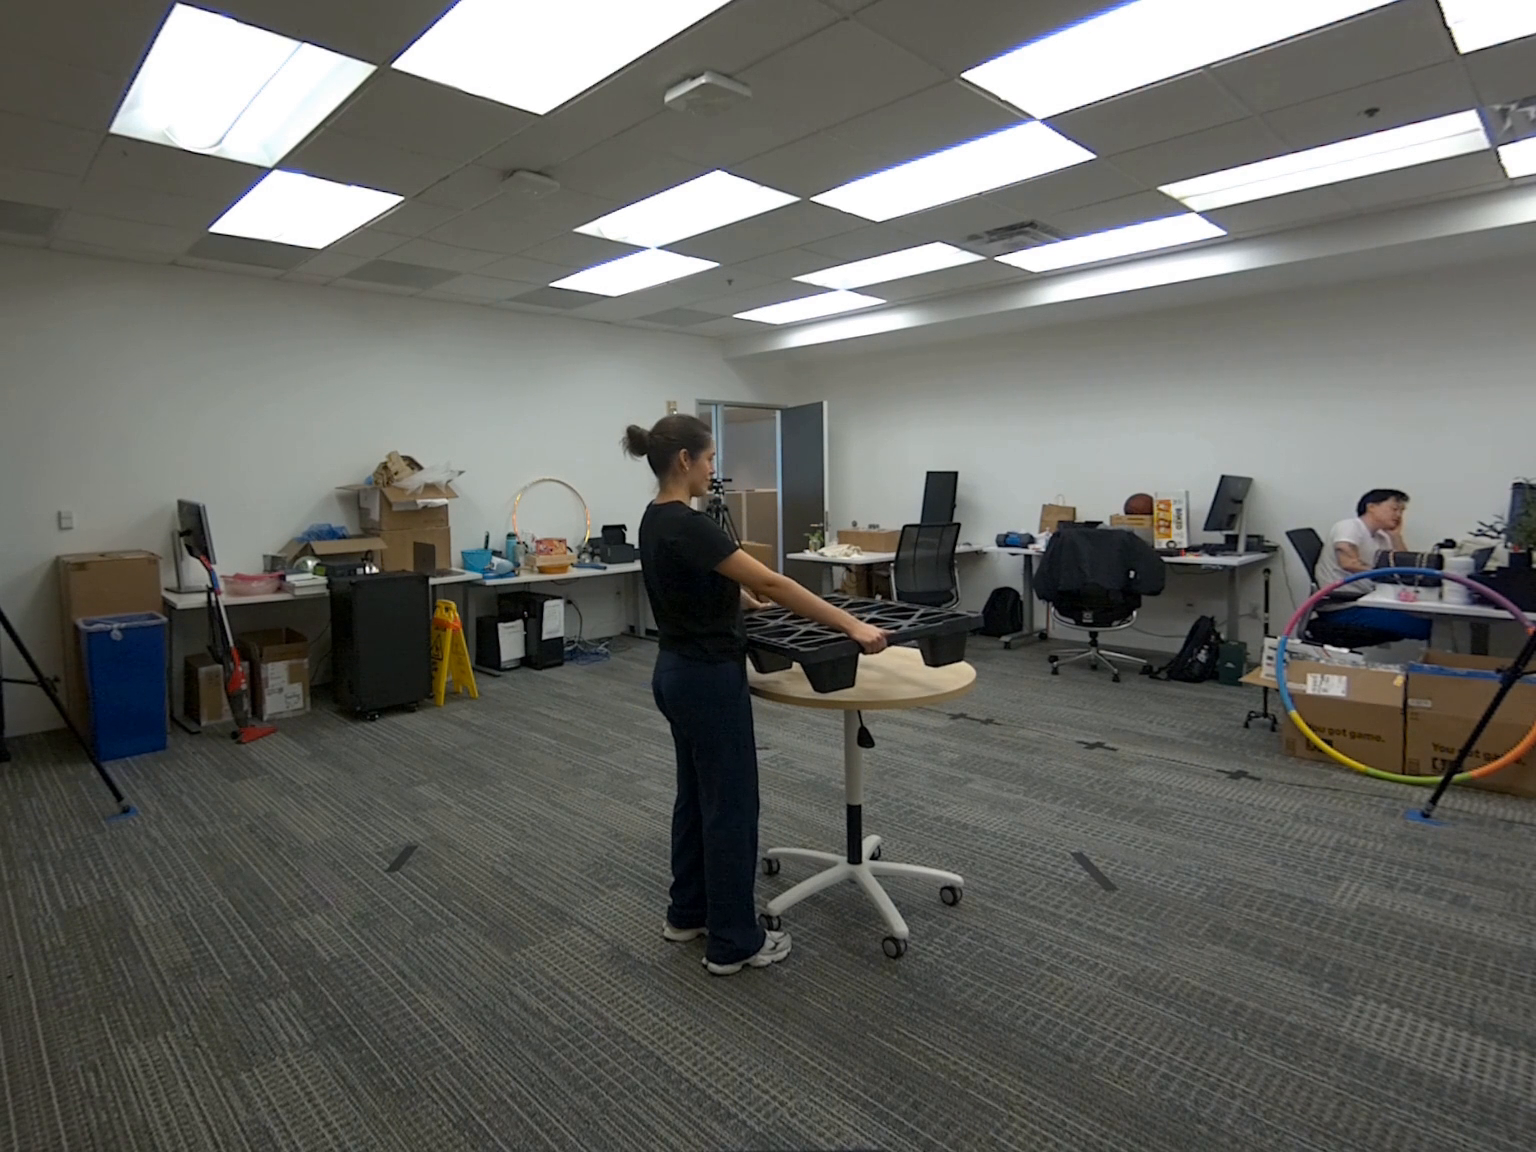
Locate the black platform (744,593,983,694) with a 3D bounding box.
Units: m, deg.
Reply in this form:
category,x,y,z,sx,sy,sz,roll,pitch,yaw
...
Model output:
category,x,y,z,sx,sy,sz,roll,pitch,yaw
black platform,0.166,0.194,2.669,0.594,0.142,0.825,-9,7,-26
